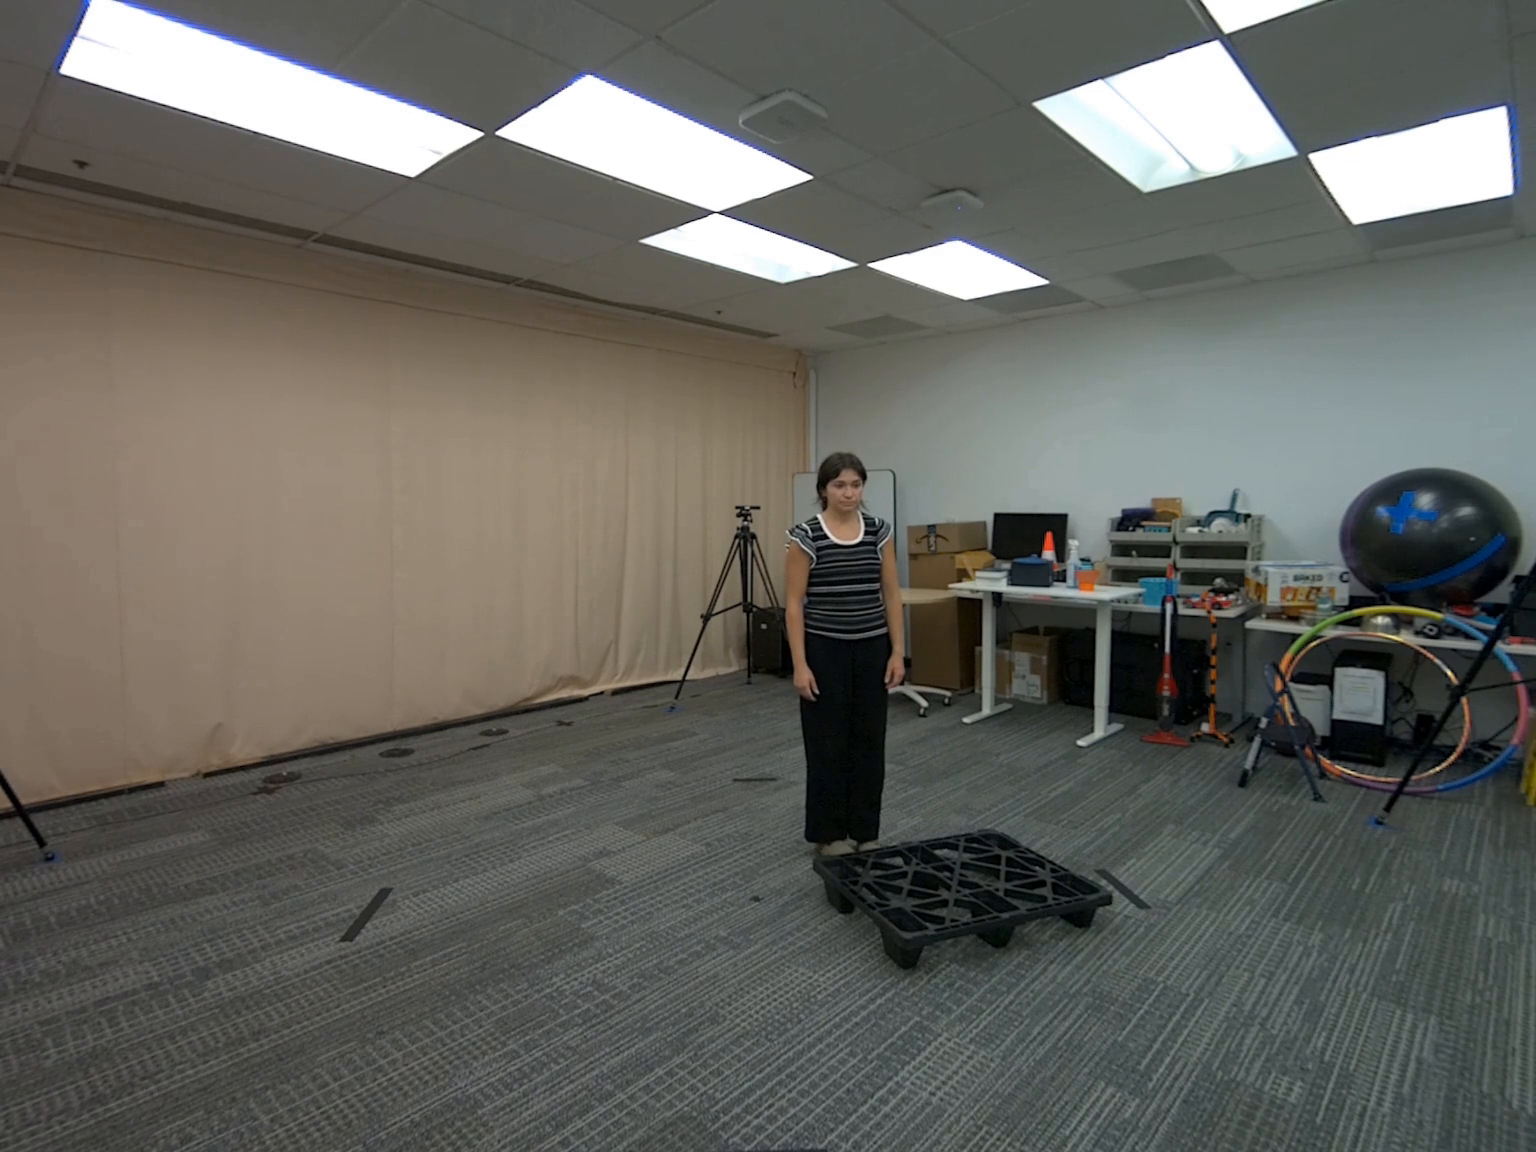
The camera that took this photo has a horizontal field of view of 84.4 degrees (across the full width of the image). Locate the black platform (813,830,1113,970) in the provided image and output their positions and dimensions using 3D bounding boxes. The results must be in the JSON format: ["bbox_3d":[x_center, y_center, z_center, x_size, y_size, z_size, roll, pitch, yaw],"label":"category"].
[{"bbox_3d":[0.645,1.088,2.870,0.788,0.143,0.620,-2,4,-23],"label":"black platform"}]
